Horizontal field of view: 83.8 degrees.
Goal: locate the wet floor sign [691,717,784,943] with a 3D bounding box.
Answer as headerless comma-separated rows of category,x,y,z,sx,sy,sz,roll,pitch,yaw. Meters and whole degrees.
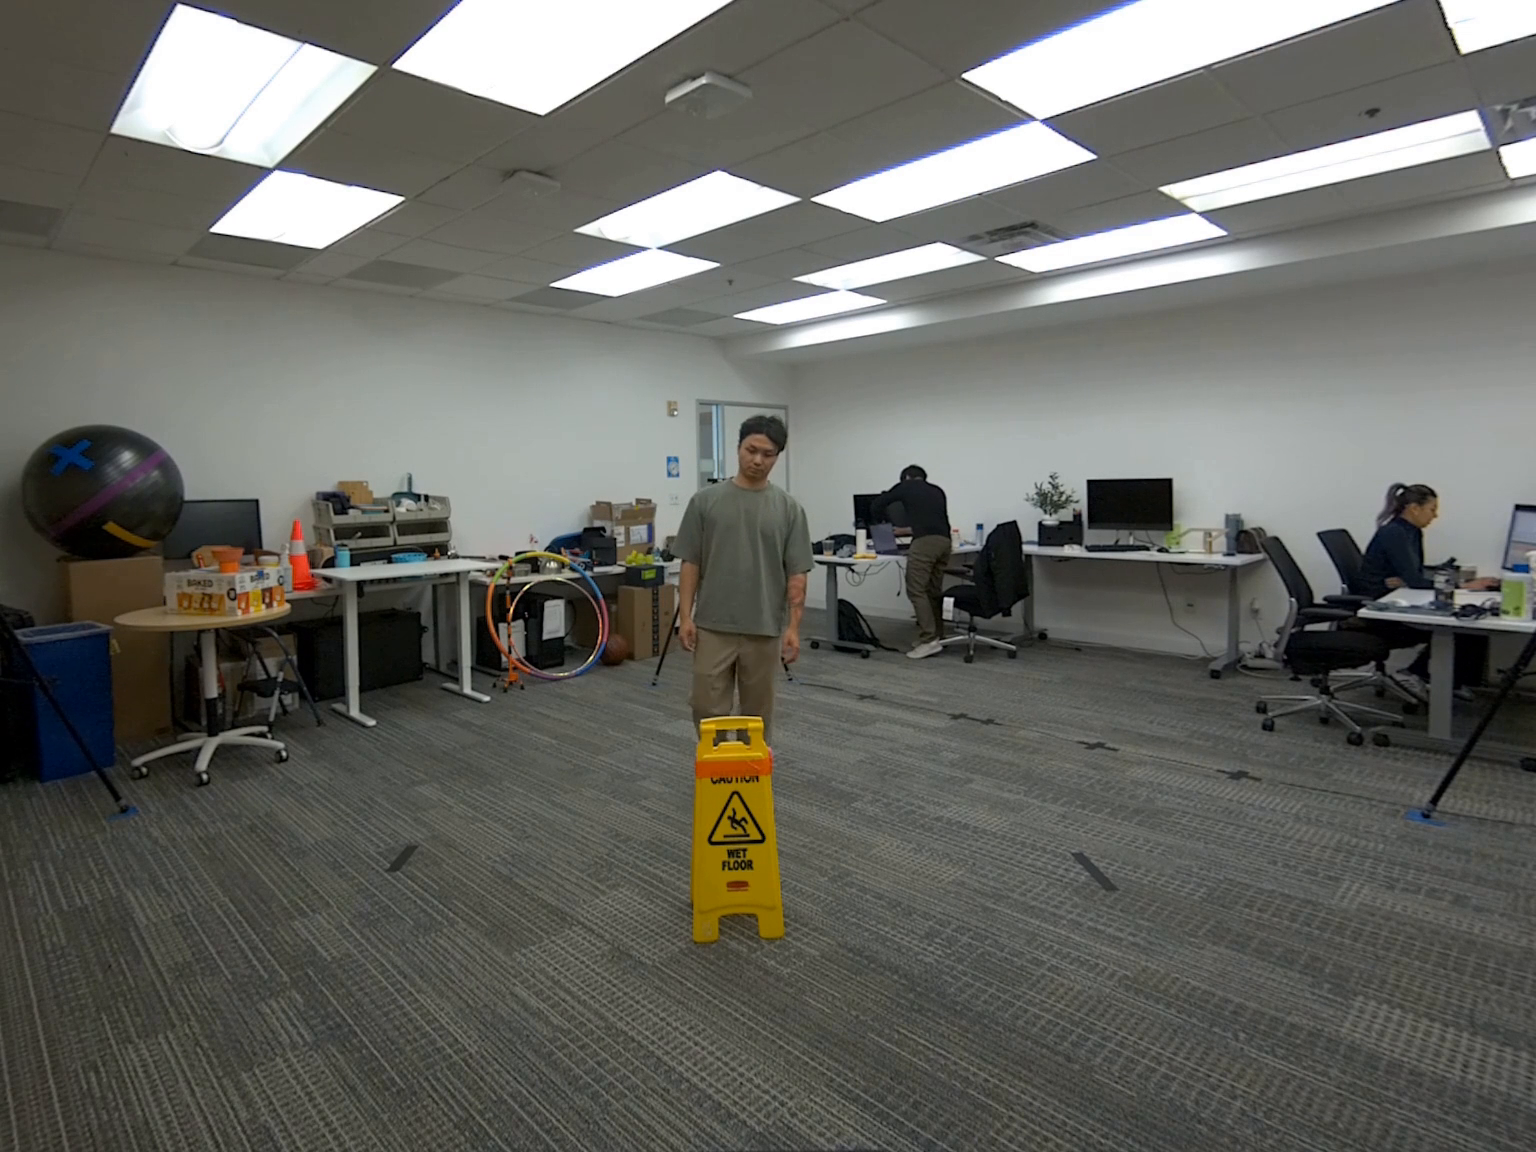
wet floor sign,-0.115,0.773,2.697,0.281,0.643,0.292,-3,5,-5
